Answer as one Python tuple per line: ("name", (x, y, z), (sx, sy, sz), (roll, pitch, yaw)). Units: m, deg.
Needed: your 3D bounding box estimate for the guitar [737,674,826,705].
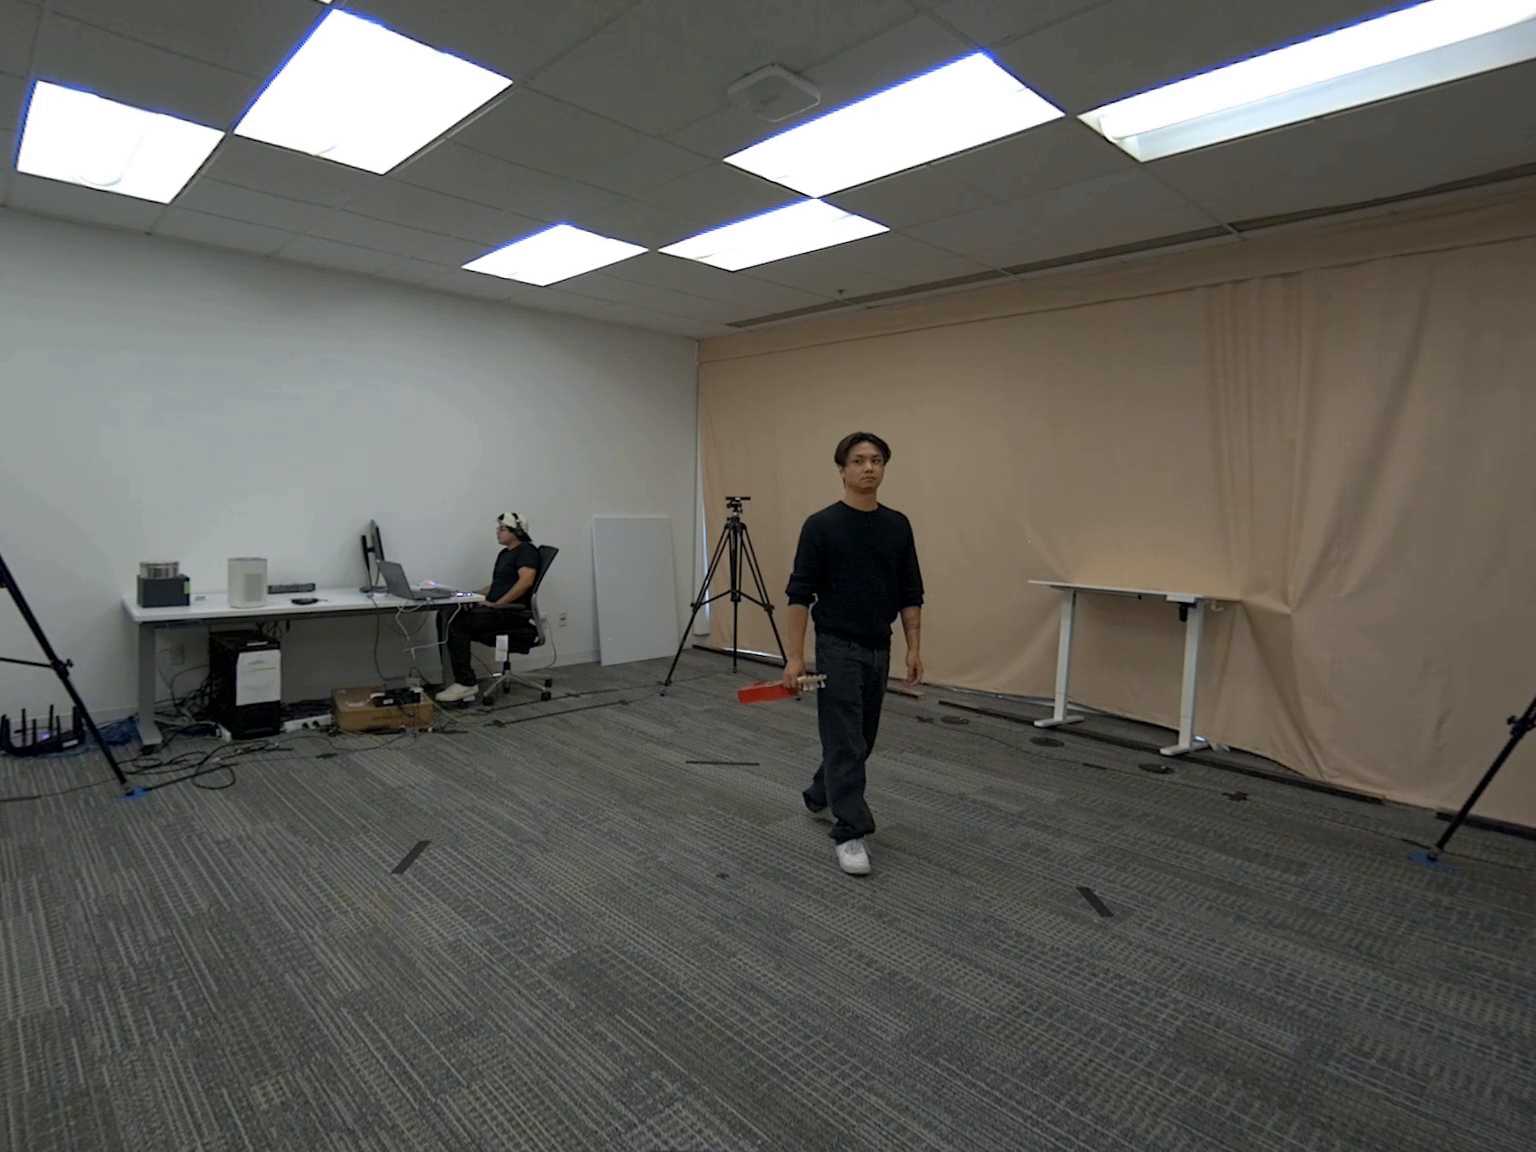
("guitar", (0.034, 0.442, 3.296), (0.190, 0.071, 0.503), (-10, -4, -26))
